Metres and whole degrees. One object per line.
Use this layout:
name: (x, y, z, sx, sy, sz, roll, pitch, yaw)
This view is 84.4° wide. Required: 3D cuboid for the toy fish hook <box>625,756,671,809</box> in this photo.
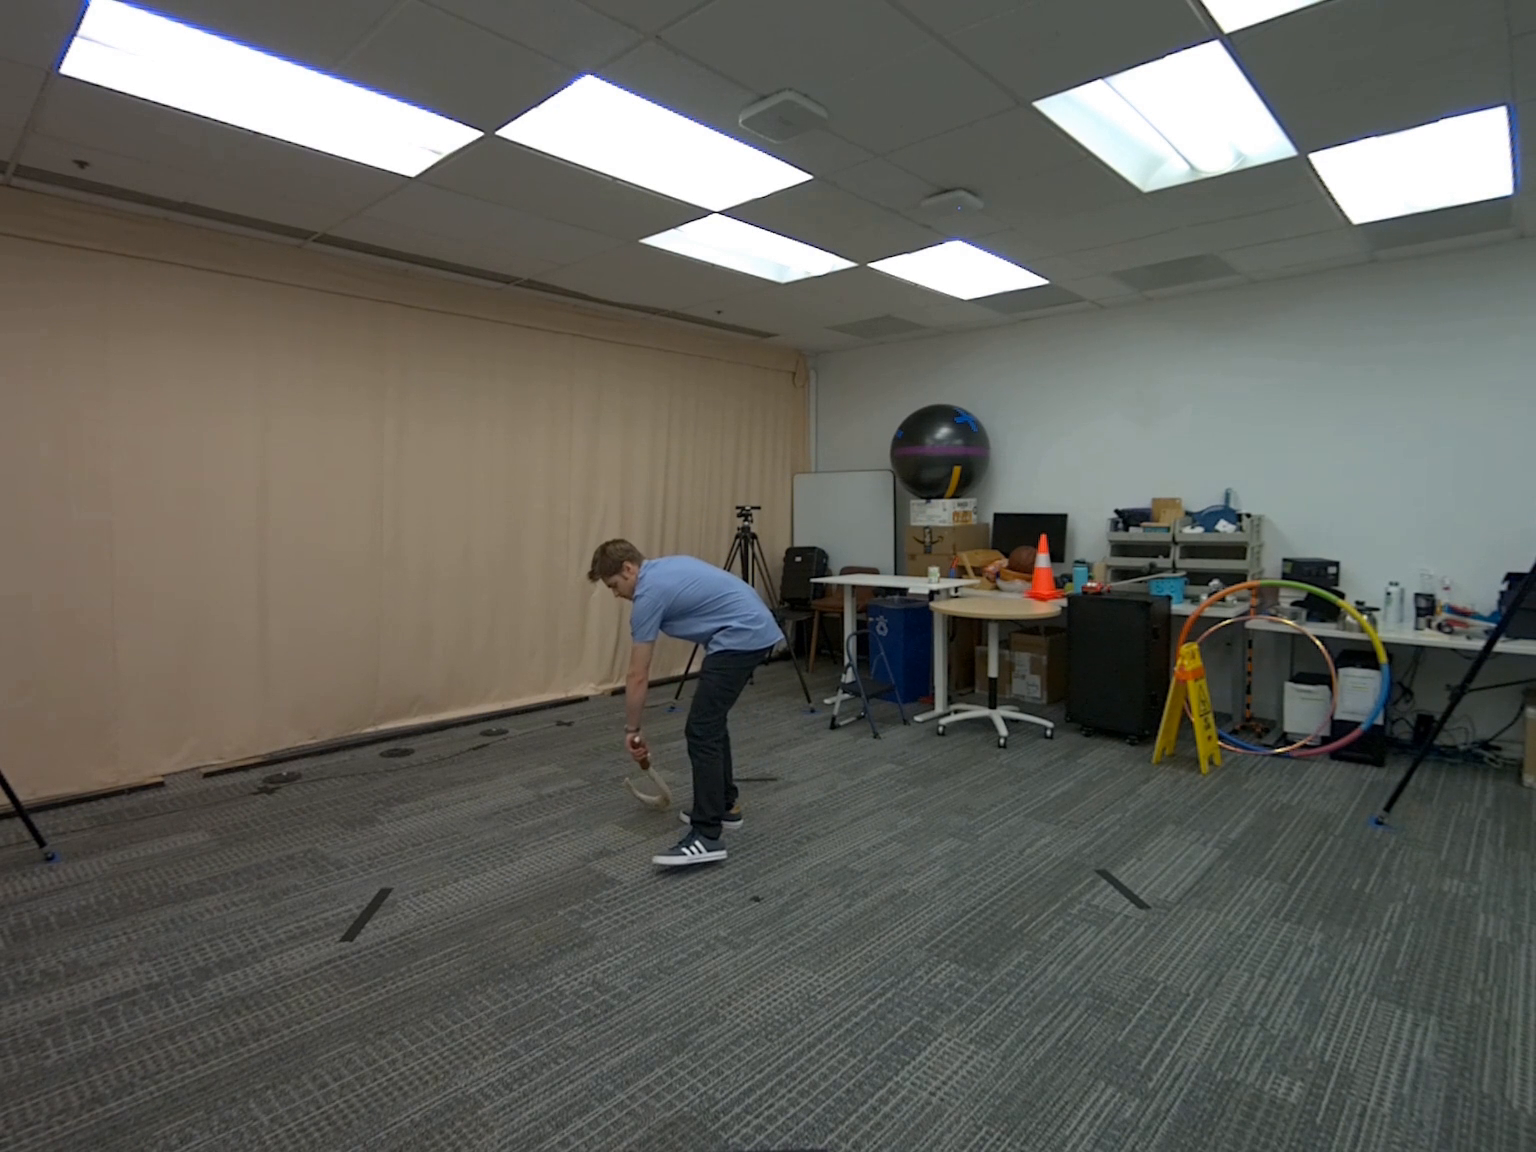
toy fish hook: (-0.574, 0.872, 3.726, 0.229, 0.494, 0.048, 0, 39, 18)
